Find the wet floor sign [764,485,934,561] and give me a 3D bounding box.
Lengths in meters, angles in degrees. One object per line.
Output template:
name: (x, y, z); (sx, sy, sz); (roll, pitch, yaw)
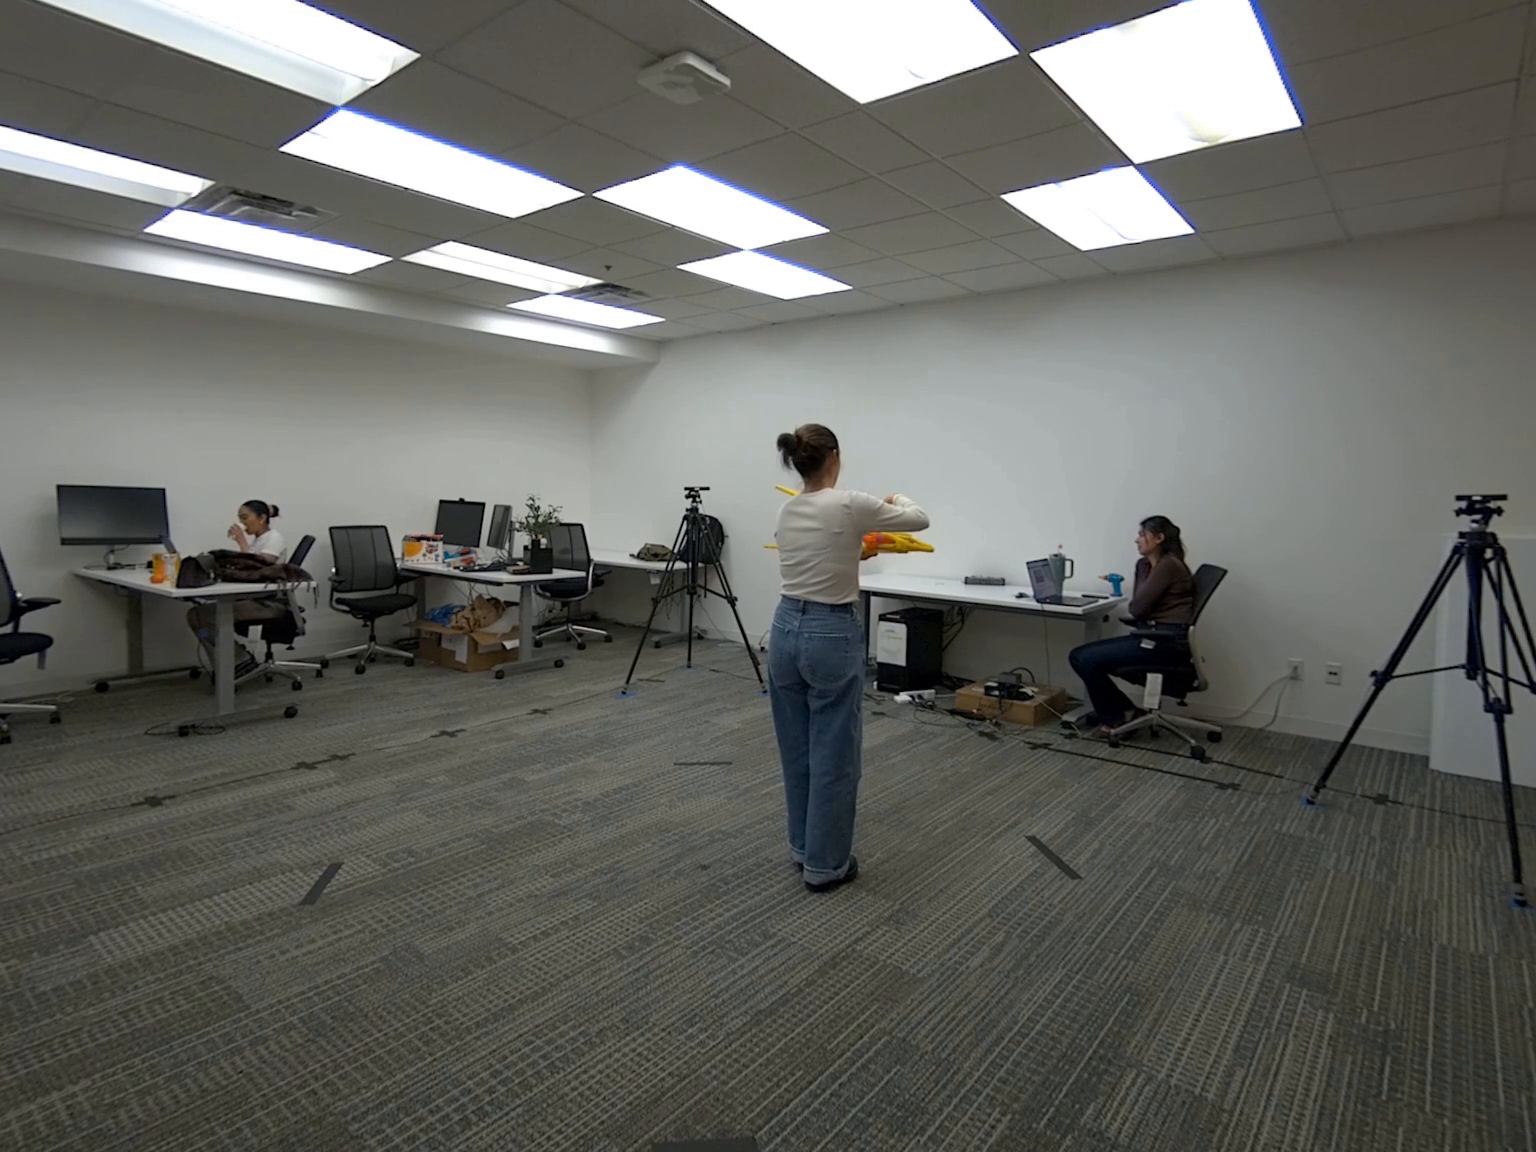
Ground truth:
wet floor sign: (0.325, -0.174, 3.342); (0.670, 0.289, 0.272); (13, 5, 42)
